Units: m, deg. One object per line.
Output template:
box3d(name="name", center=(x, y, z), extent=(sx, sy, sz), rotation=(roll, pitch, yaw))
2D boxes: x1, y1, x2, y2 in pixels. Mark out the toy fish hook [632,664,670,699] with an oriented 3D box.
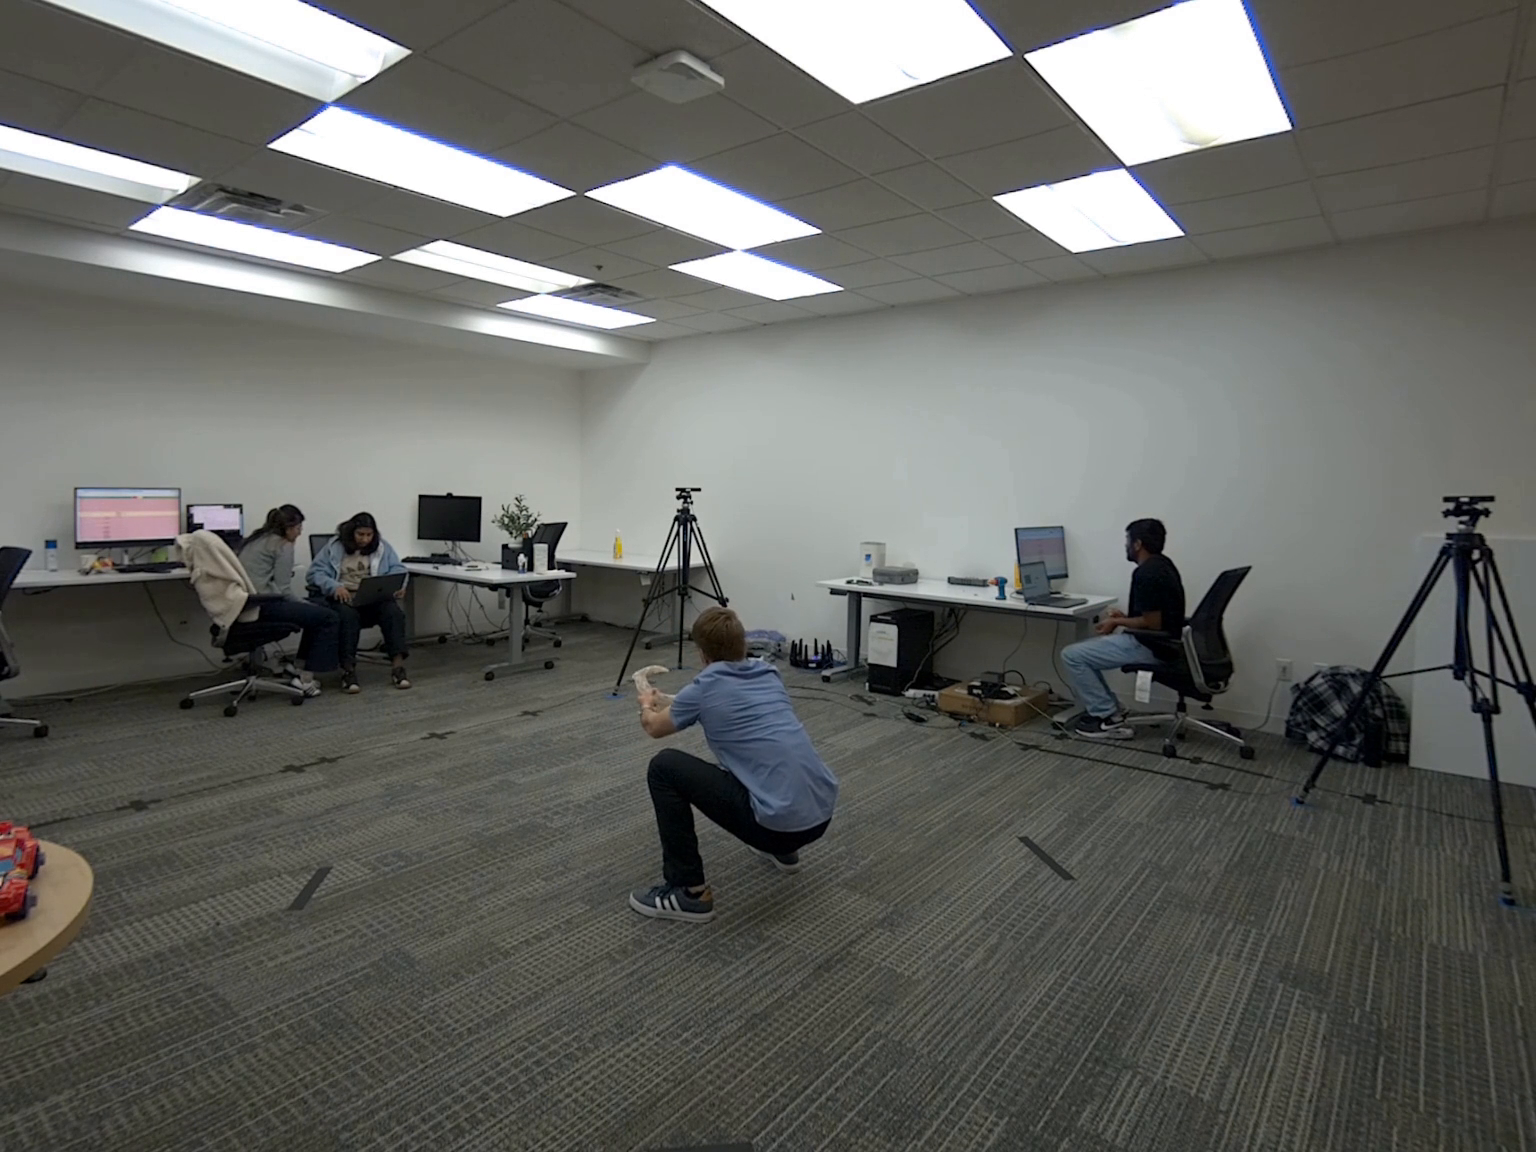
box3d(name="toy fish hook", center=(-0.359, 0.466, 3.595), extent=(0.490, 0.048, 0.234), rotation=(2, 40, -41))
